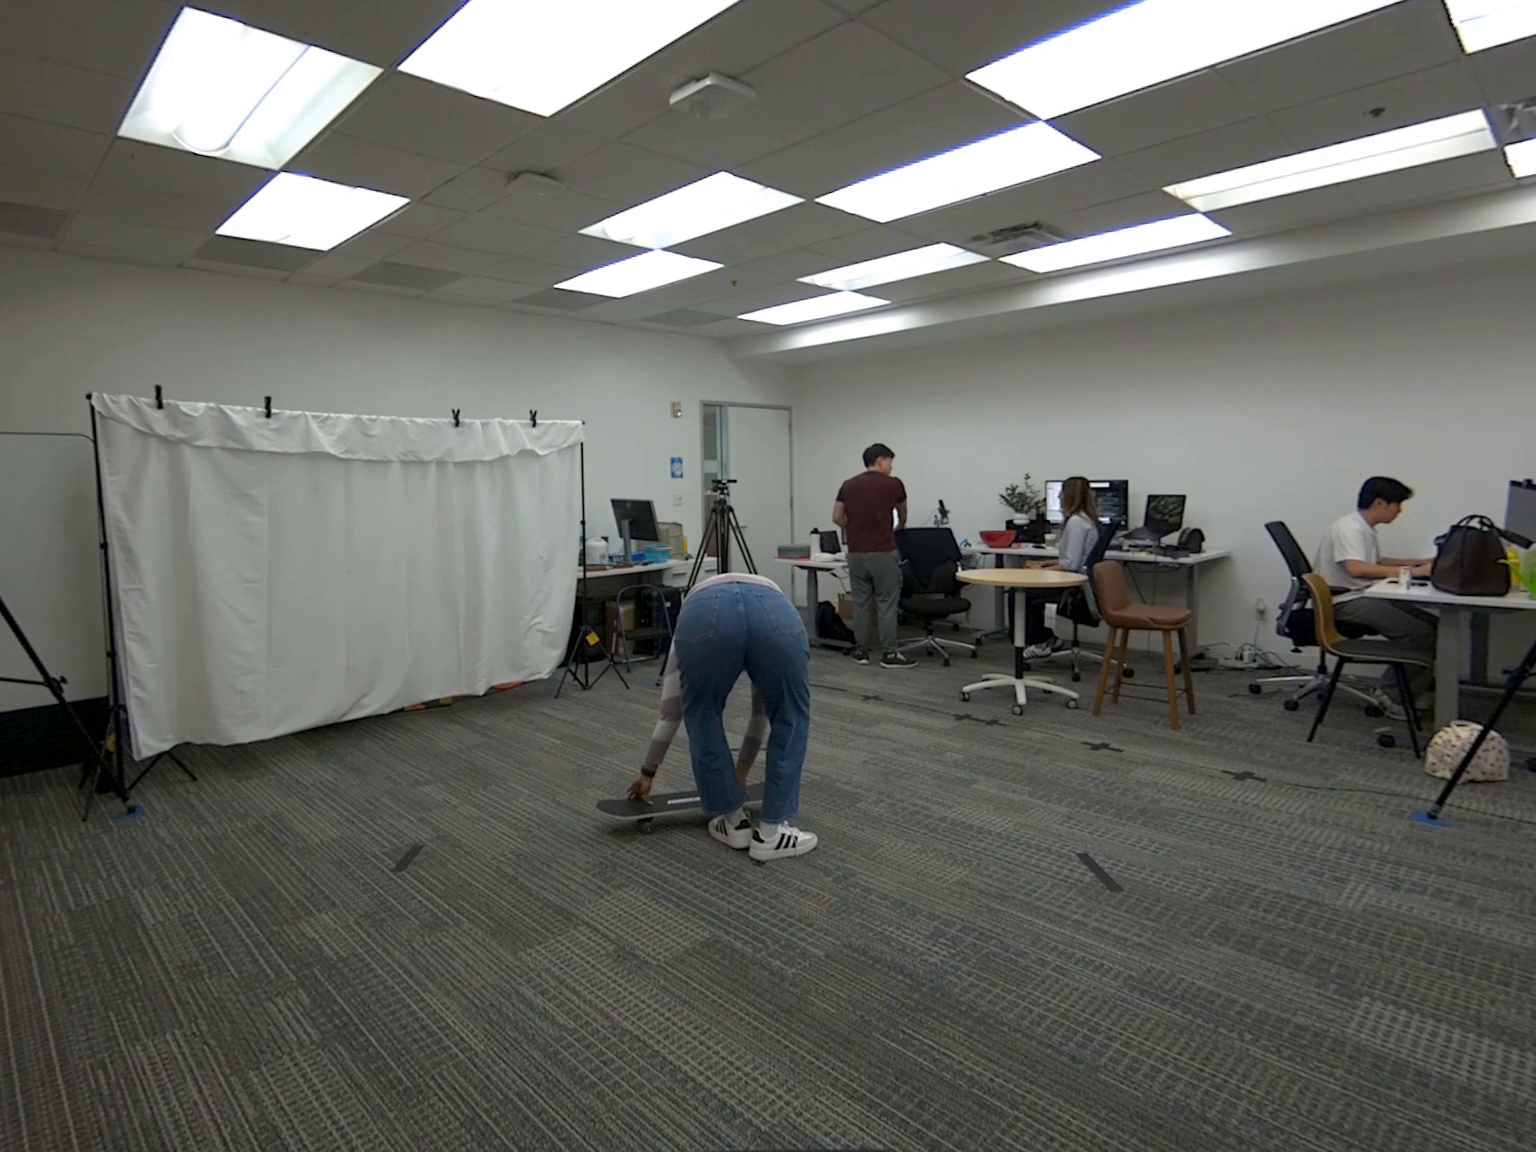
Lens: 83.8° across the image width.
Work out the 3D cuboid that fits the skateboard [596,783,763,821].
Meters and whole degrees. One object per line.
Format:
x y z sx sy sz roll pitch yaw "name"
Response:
-0.304 0.946 3.508 0.775 0.110 0.197 -3 6 -14 "skateboard"
